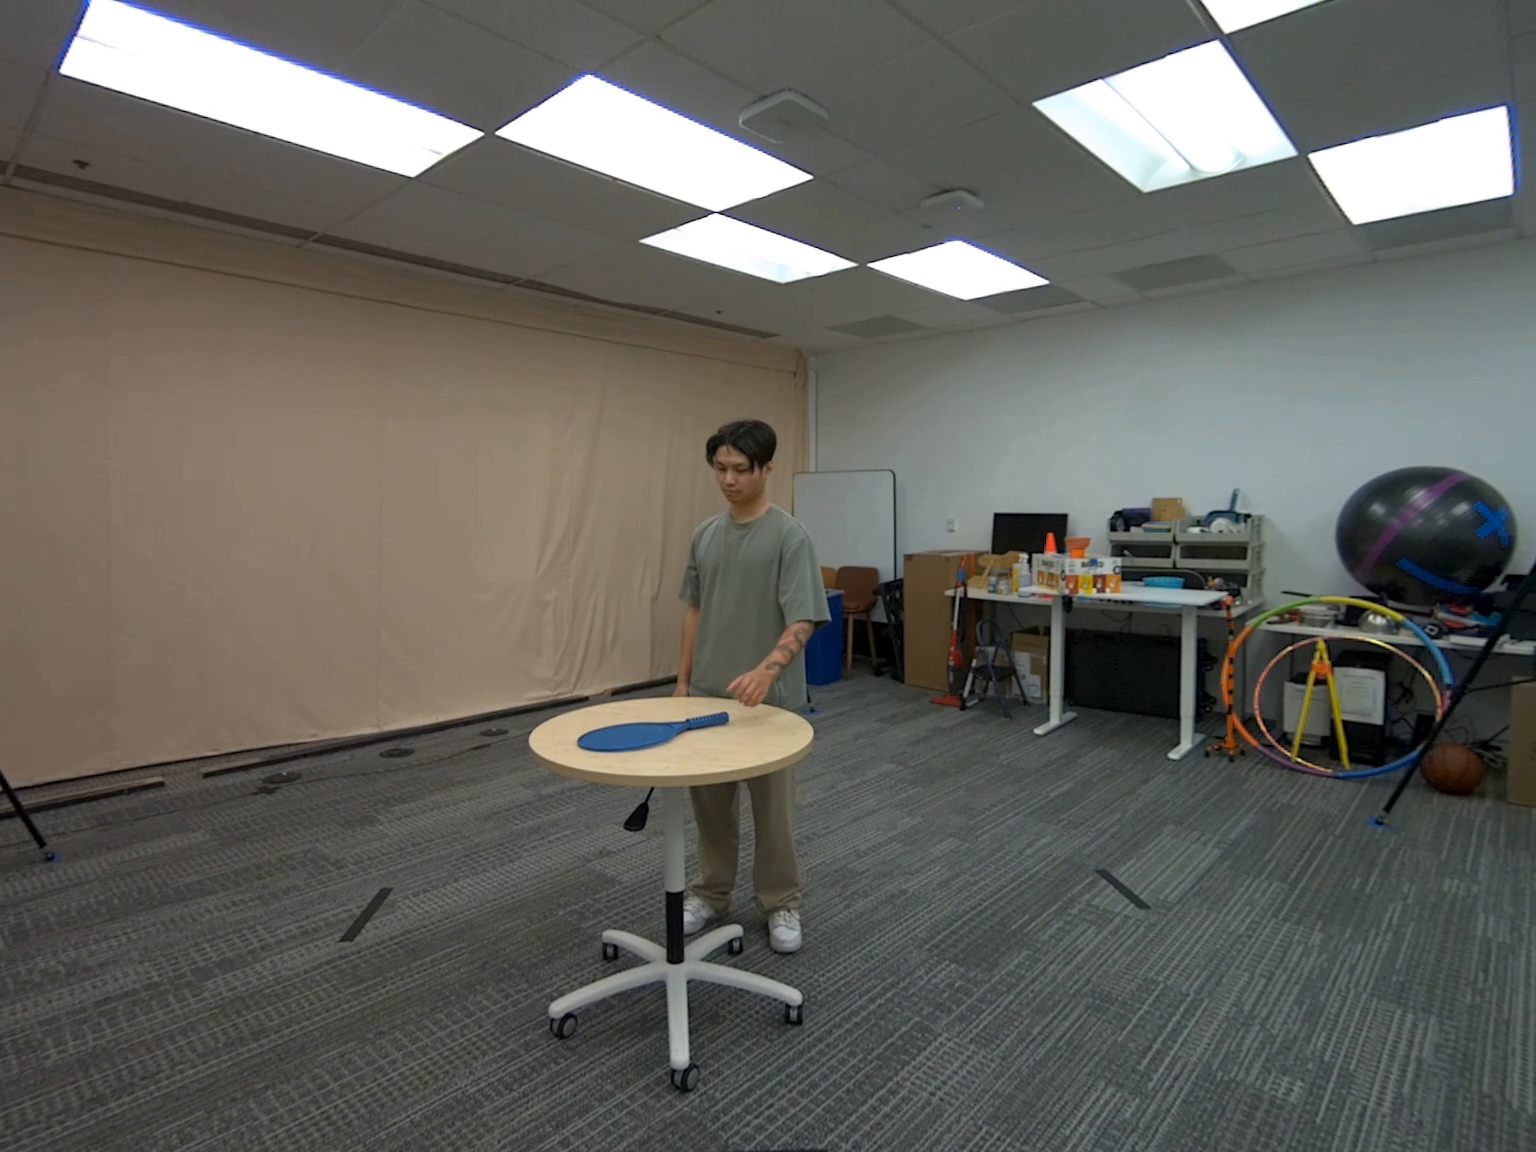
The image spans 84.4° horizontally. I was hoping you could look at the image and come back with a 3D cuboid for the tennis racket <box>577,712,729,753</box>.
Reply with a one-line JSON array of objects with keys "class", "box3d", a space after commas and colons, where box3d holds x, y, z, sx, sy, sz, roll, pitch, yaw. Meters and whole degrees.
[{"class": "tennis racket", "box3d": [-0.293, 0.410, 2.247, 0.422, 0.031, 0.220, -5, 8, -28]}]
